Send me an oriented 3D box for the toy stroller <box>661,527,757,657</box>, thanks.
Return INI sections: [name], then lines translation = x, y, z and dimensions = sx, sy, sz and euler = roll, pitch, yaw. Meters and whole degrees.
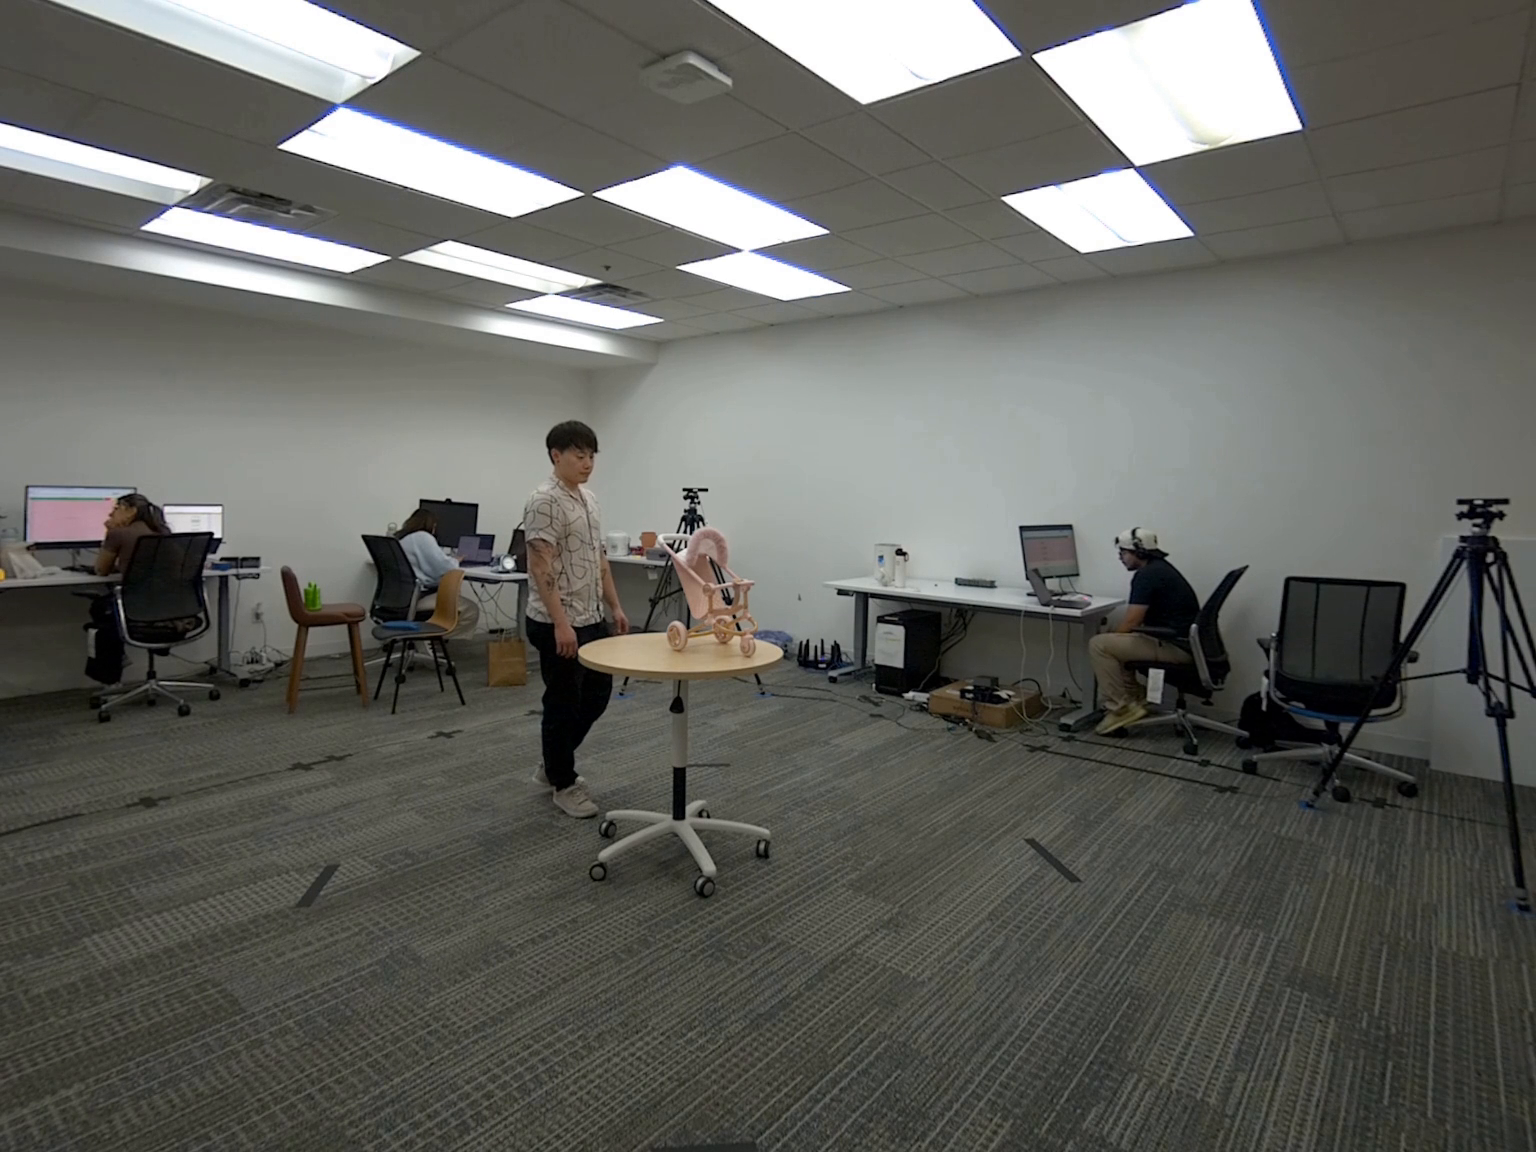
[toy stroller]
translation = -0.221, 0.052, 3.211
dimensions = 0.273, 0.541, 0.348
euler = -3, -12, -43
